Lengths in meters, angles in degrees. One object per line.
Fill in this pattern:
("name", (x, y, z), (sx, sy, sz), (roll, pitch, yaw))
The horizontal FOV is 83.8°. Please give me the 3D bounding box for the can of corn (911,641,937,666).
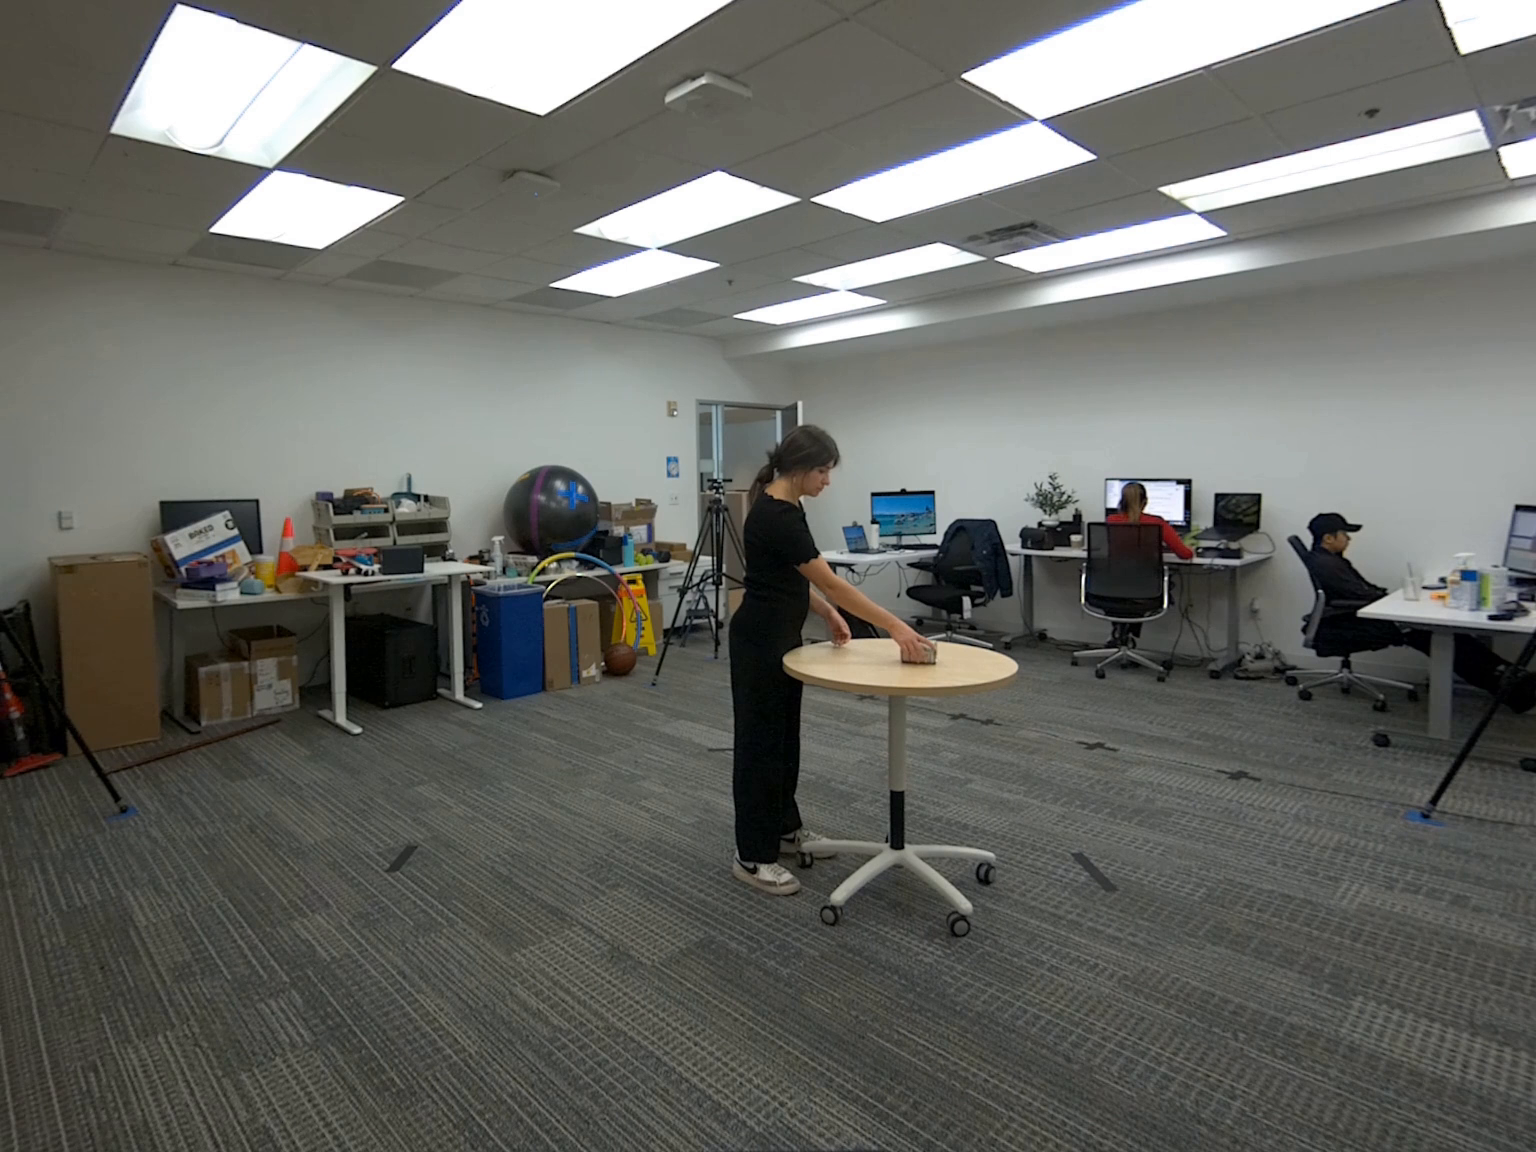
("can of corn", (0.506, 0.246, 2.804), (0.112, 0.074, 0.074), (-4, 4, 11))
